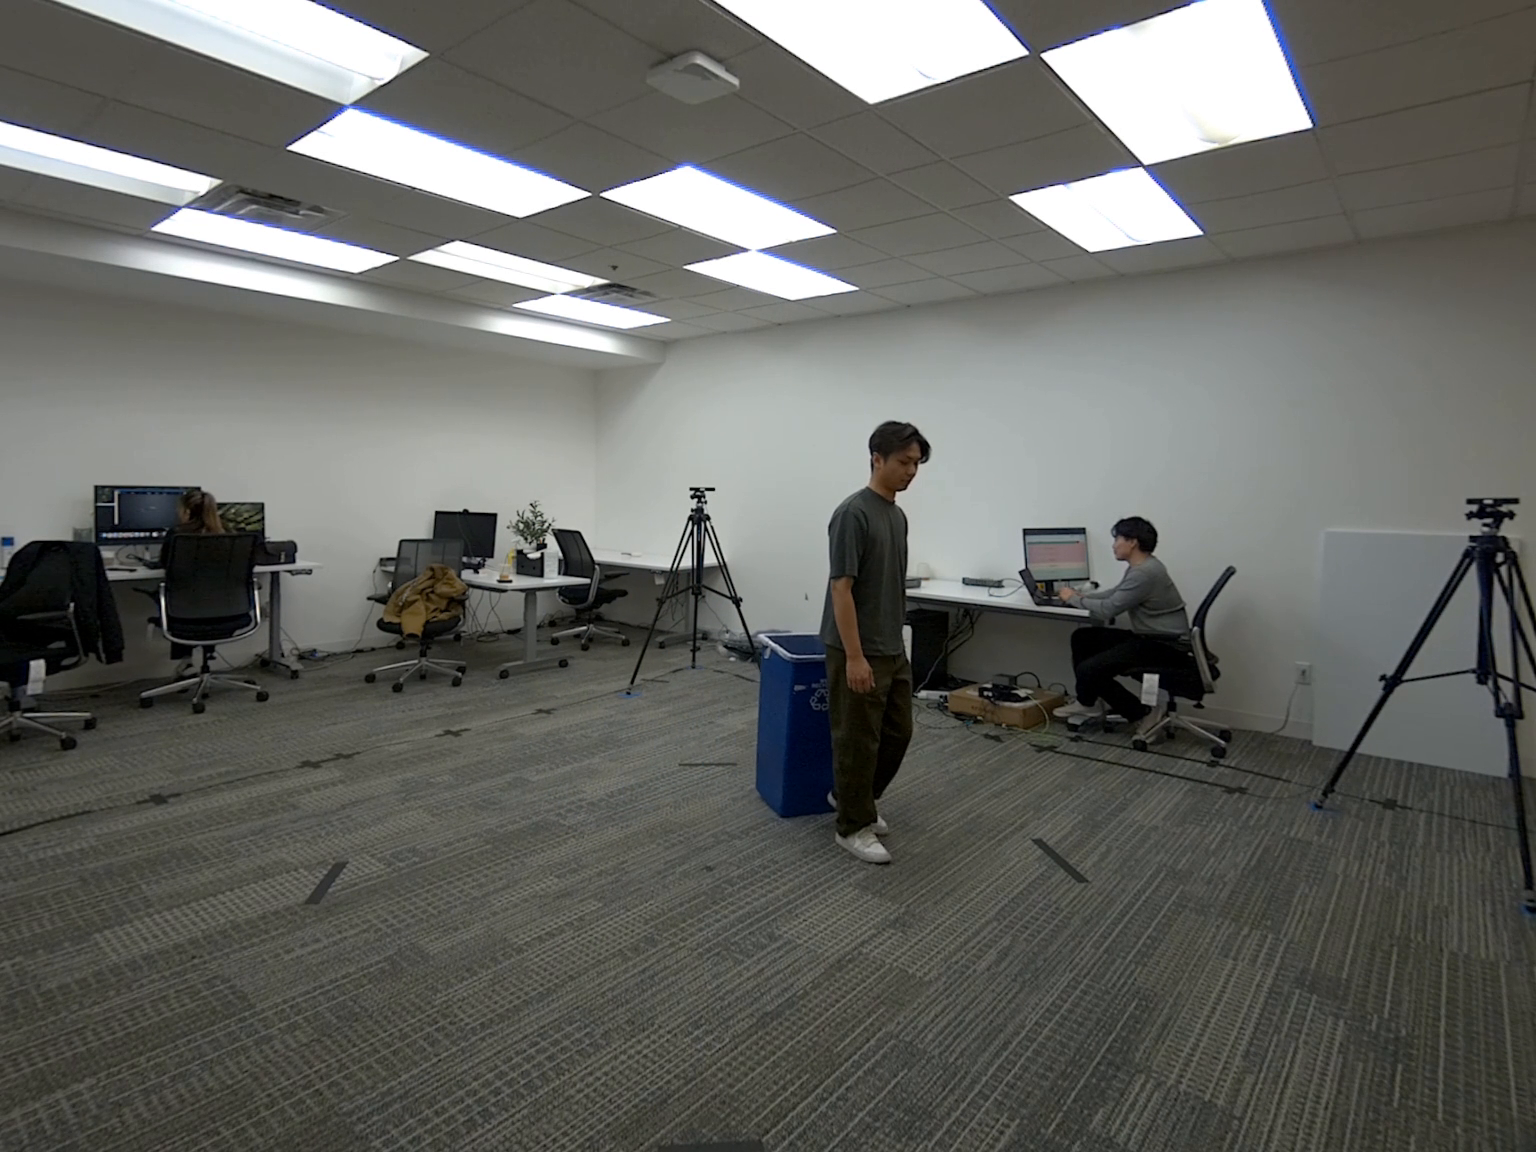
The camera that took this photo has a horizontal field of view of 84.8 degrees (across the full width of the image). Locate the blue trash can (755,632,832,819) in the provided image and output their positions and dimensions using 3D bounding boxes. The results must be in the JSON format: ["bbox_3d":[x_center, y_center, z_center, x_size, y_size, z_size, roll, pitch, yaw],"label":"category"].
[{"bbox_3d":[0.153,0.640,3.750,0.366,0.708,0.389,1,9,-23],"label":"blue trash can"}]
